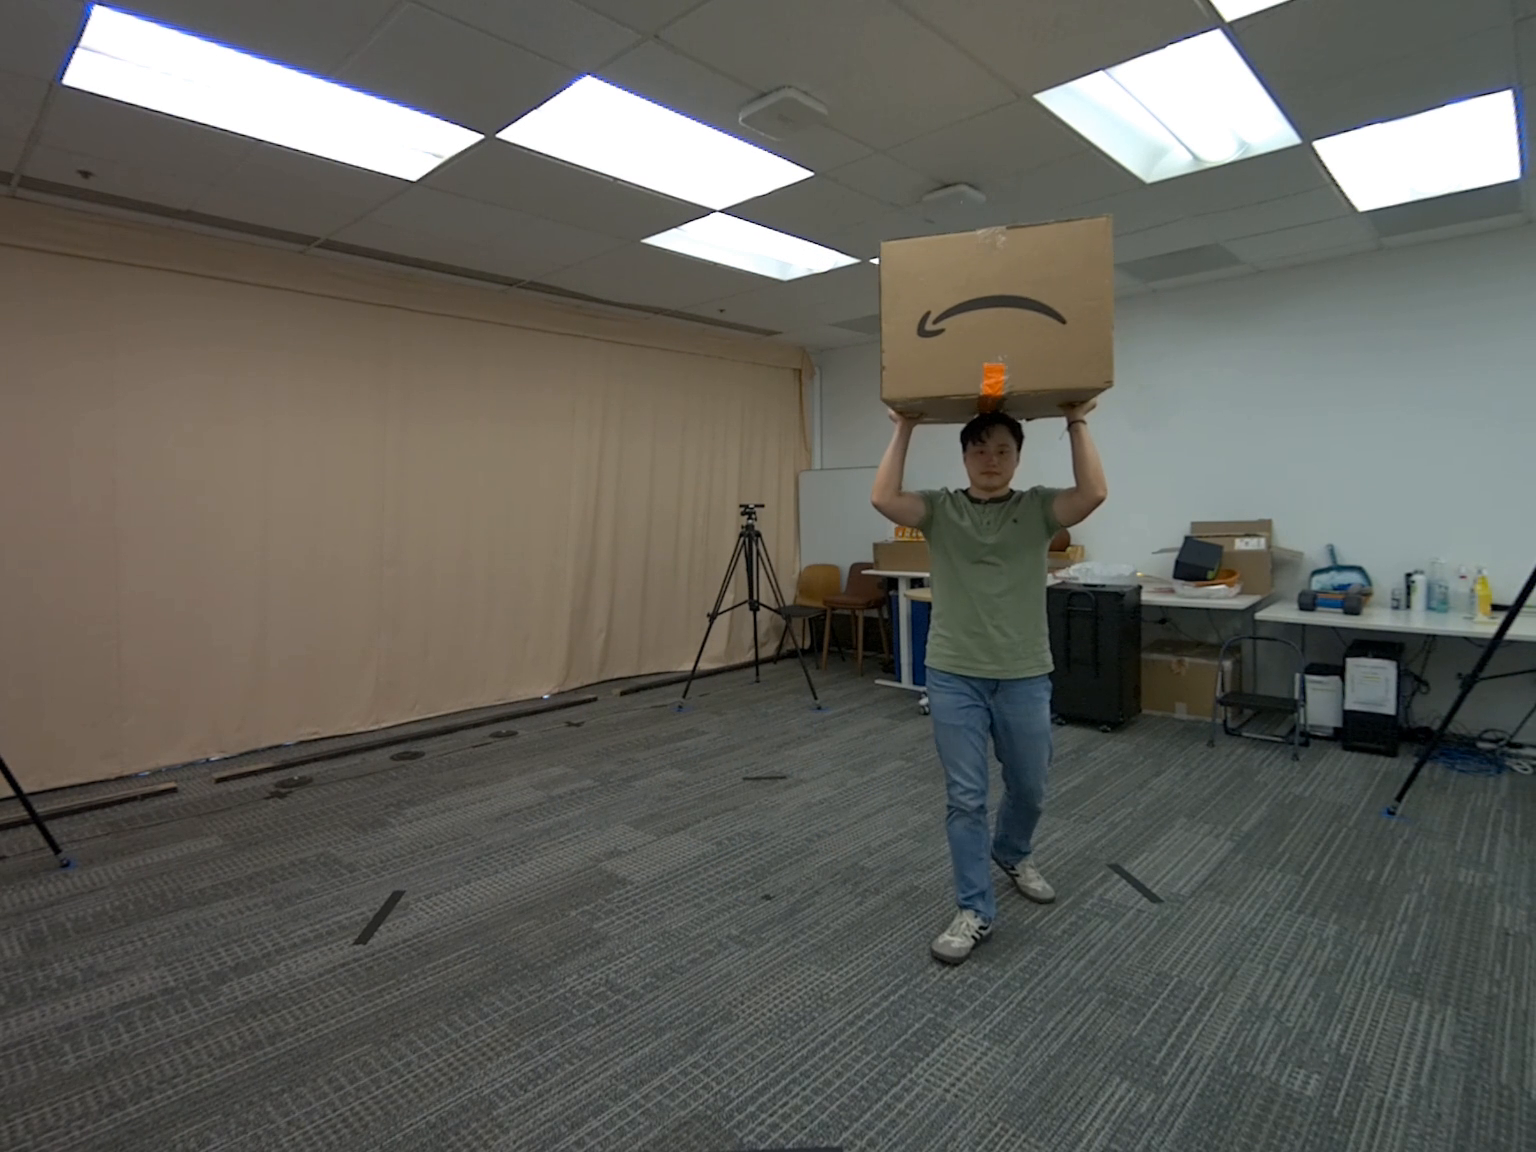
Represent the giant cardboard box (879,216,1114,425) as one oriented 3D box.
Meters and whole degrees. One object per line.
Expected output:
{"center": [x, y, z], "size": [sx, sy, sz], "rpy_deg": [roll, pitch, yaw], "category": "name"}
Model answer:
{"center": [0.699, -0.735, 2.653], "size": [0.587, 0.424, 1.012], "rpy_deg": [0, 6, 15], "category": "giant cardboard box"}
